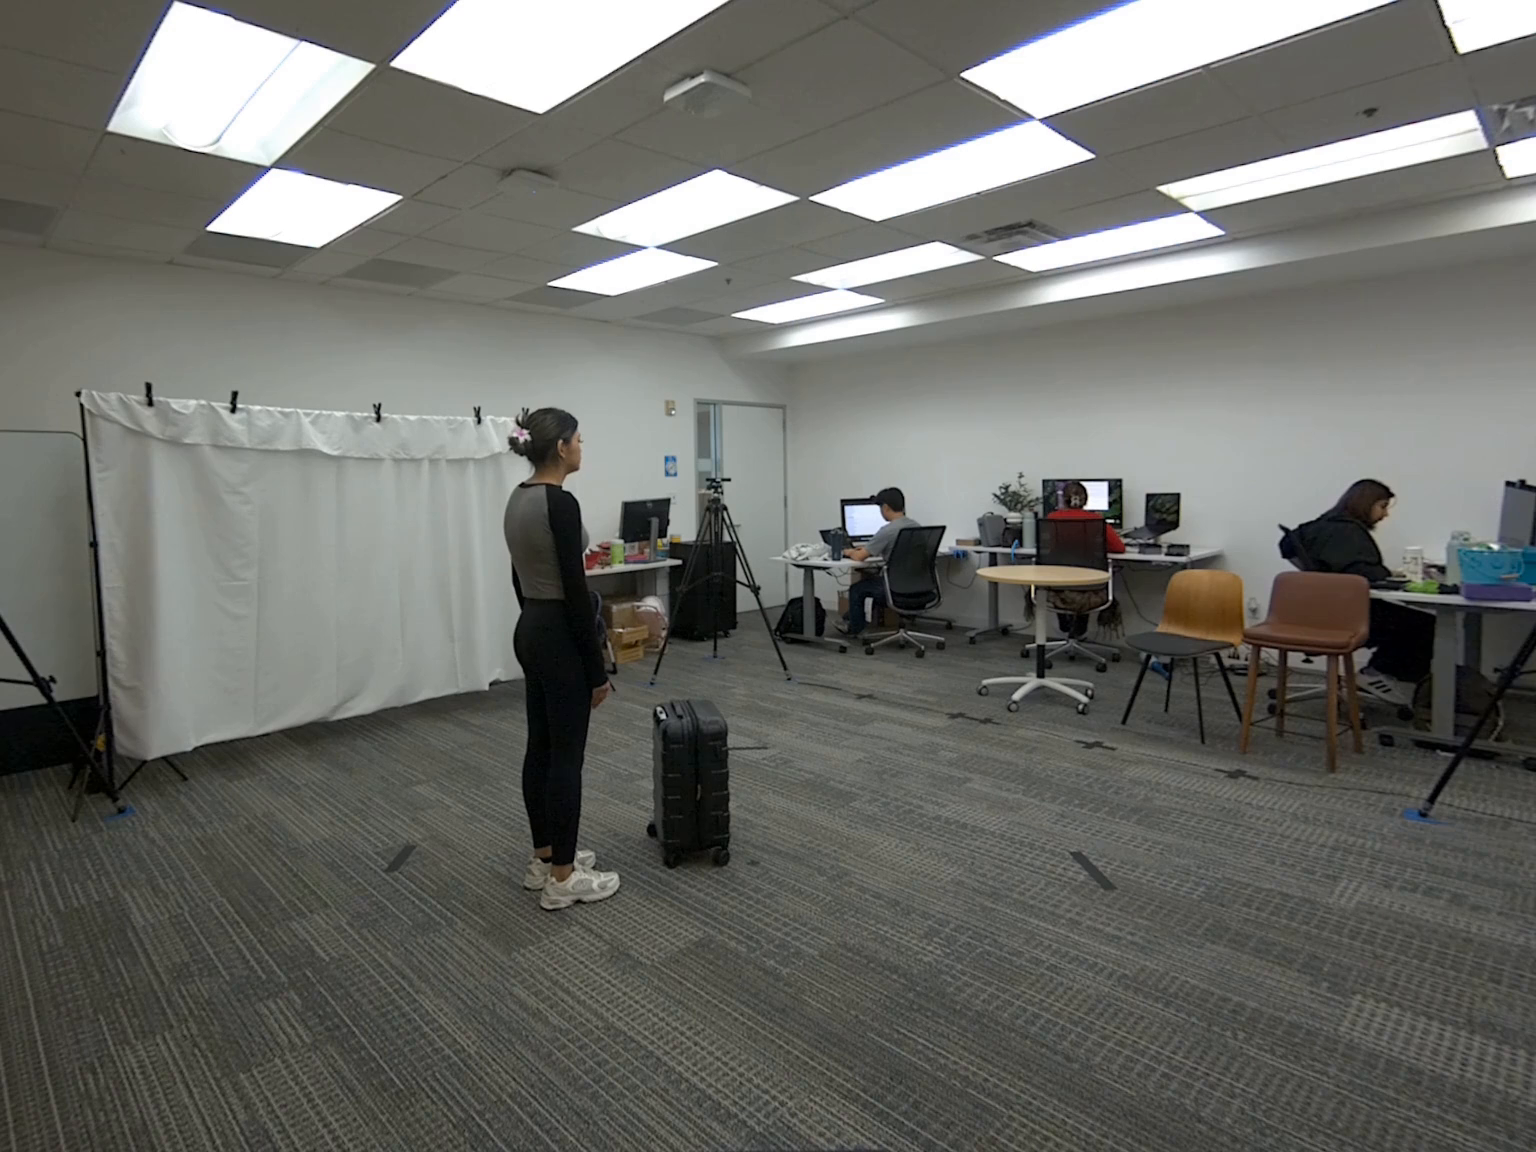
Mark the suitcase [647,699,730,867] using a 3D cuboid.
[{"bbox_3d":[-0.290,0.755,3.227,0.246,0.547,0.381,-1,4,-12],"label":"suitcase"}]
